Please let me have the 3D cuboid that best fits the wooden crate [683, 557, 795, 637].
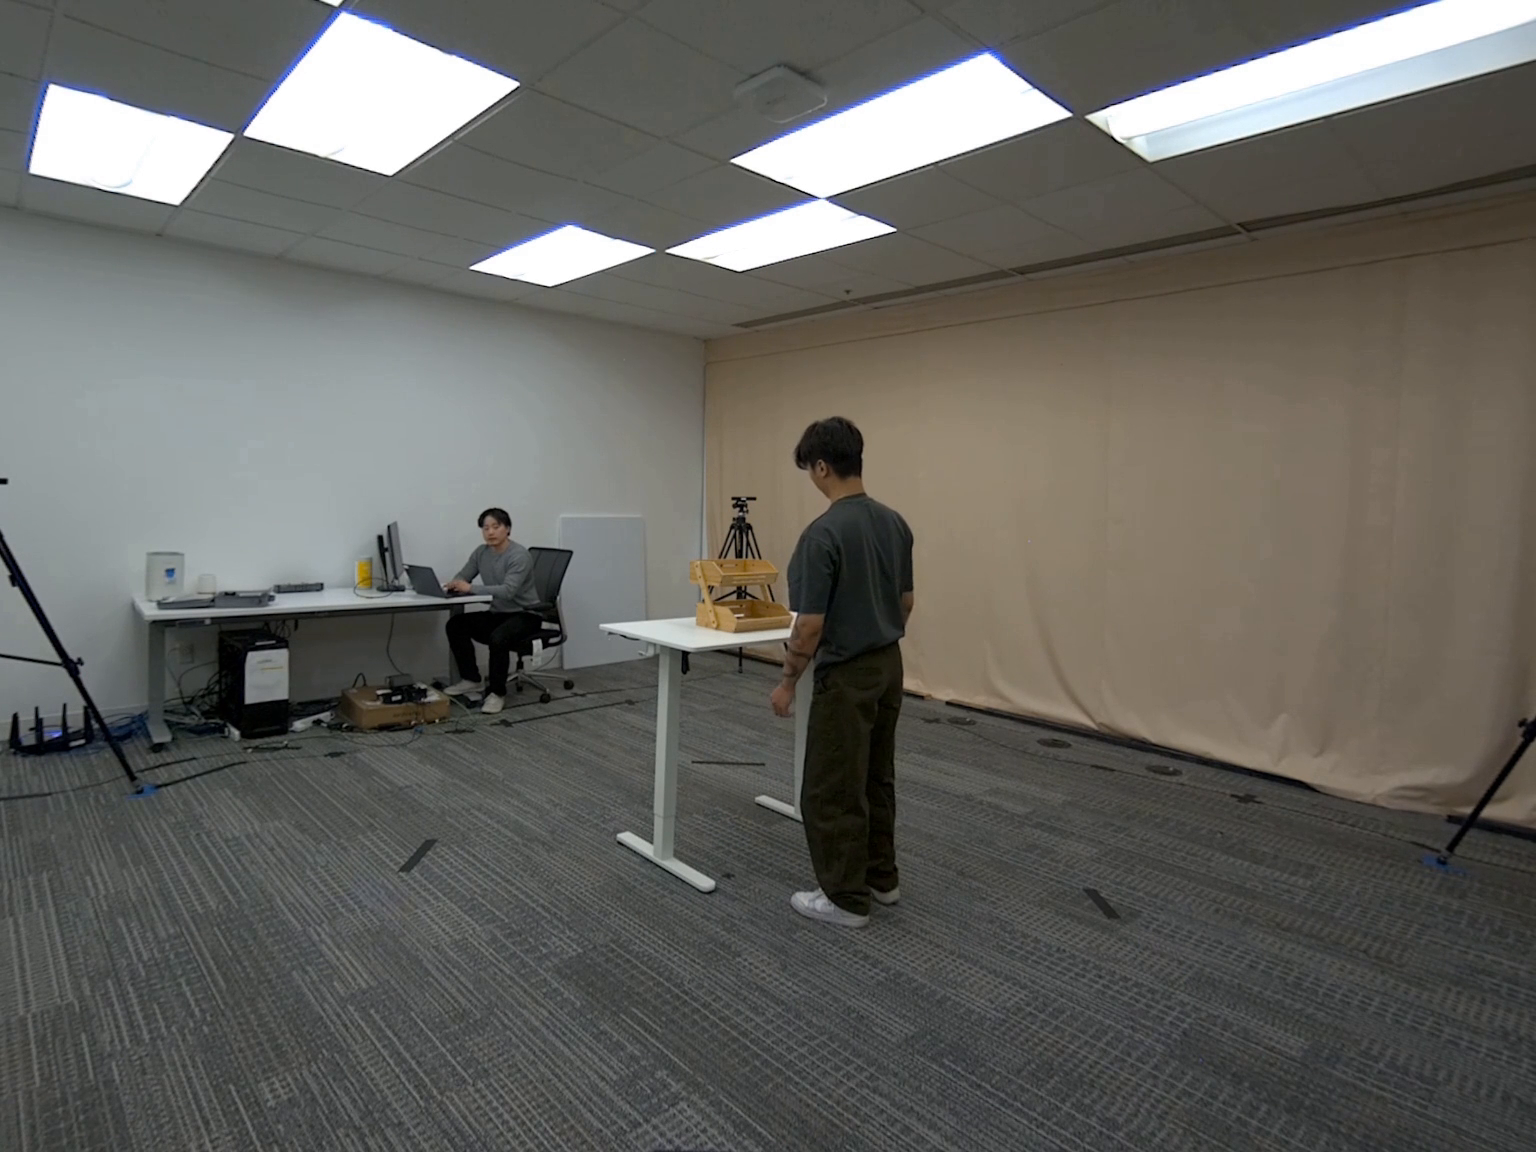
[{"bbox_3d":[-0.113,0.071,3.375,0.317,0.273,0.310,-1,4,-42],"label":"wooden crate"}]
